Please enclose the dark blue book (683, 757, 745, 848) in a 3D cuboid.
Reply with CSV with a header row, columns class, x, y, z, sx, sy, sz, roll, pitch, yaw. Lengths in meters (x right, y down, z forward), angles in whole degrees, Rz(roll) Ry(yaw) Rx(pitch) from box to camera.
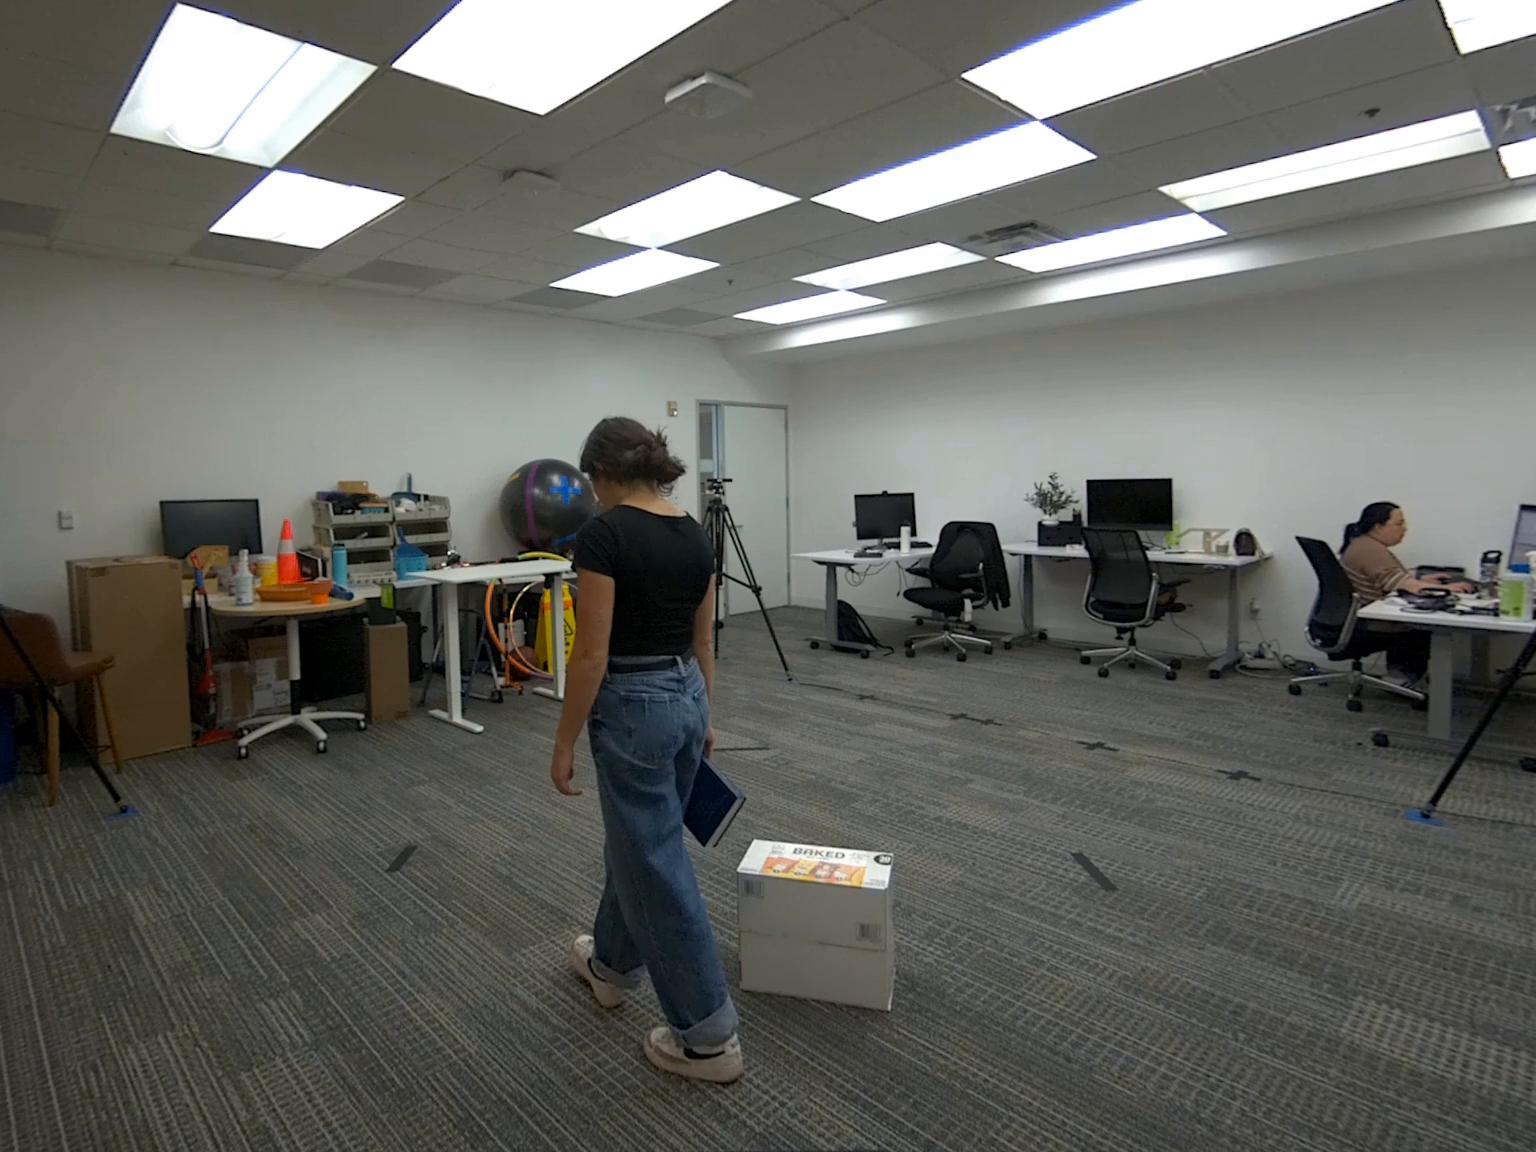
class,x,y,z,sx,sy,sz,roll,pitch,yaw
dark blue book,-0.186,0.577,2.282,0.255,0.163,0.043,40,10,39
